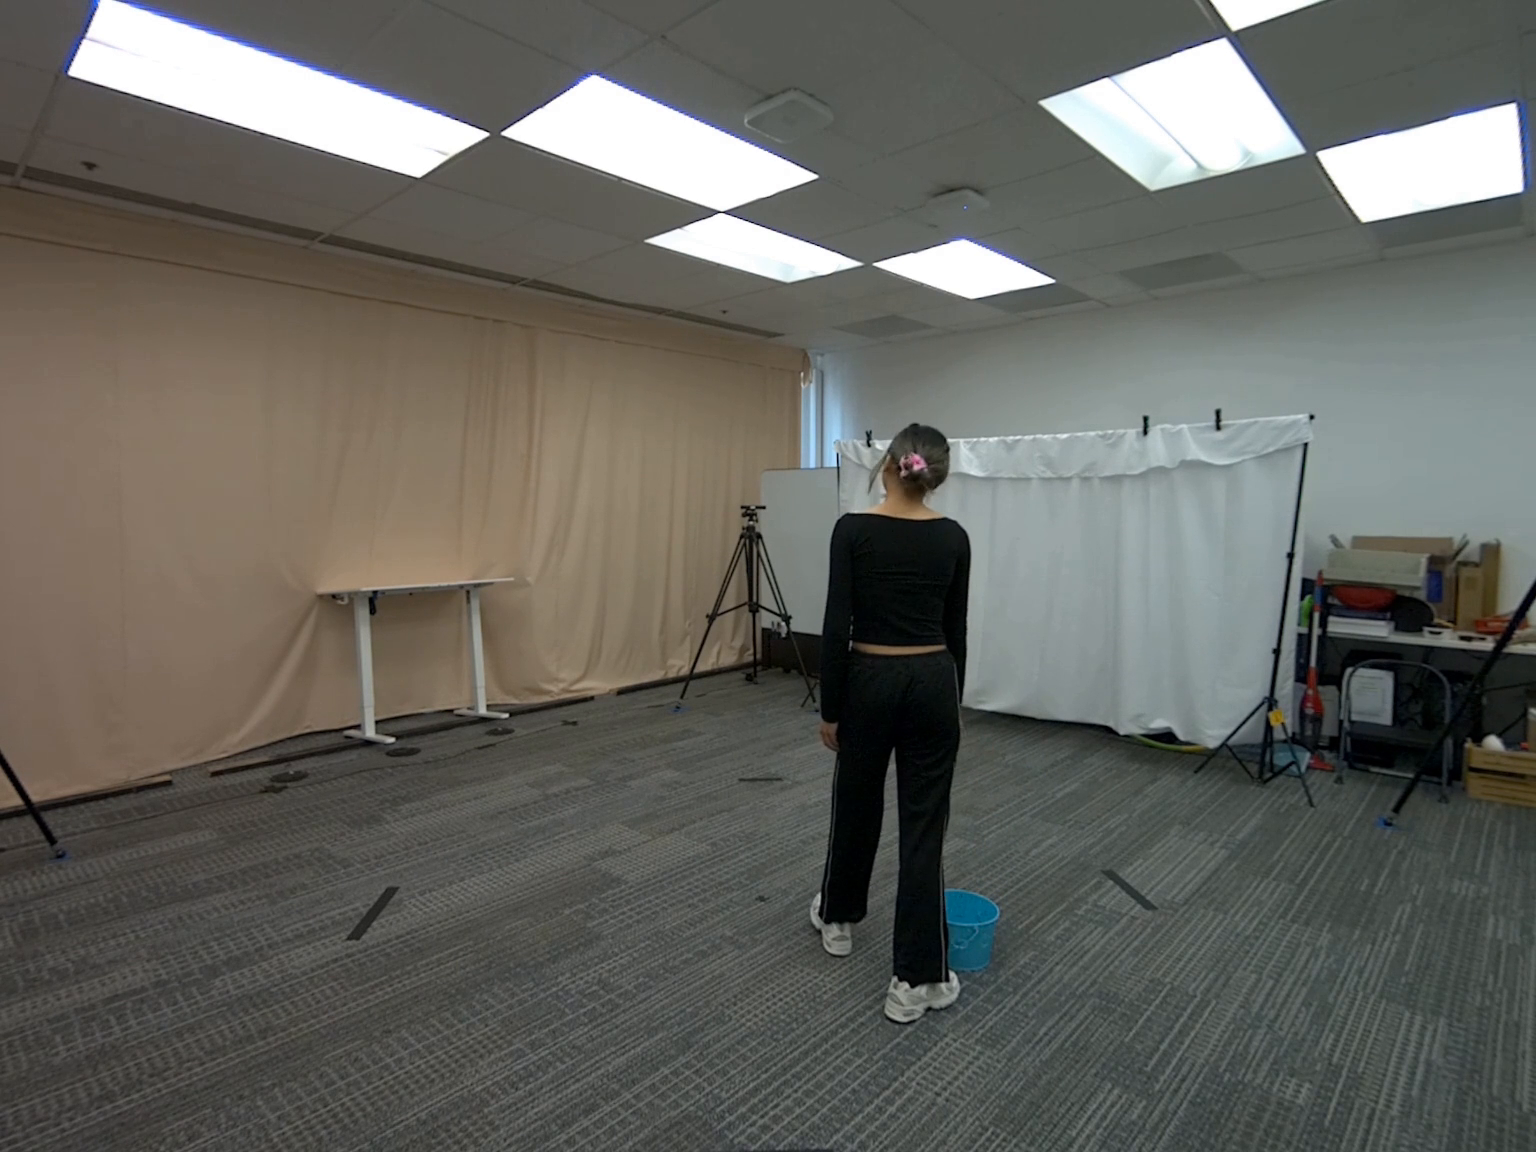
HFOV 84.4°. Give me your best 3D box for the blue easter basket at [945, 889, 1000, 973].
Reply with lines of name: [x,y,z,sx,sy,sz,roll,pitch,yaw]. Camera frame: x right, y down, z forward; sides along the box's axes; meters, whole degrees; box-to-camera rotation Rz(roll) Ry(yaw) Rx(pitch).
blue easter basket: [0.593,1.095,2.592,0.243,0.155,0.244,1,5,-2]
